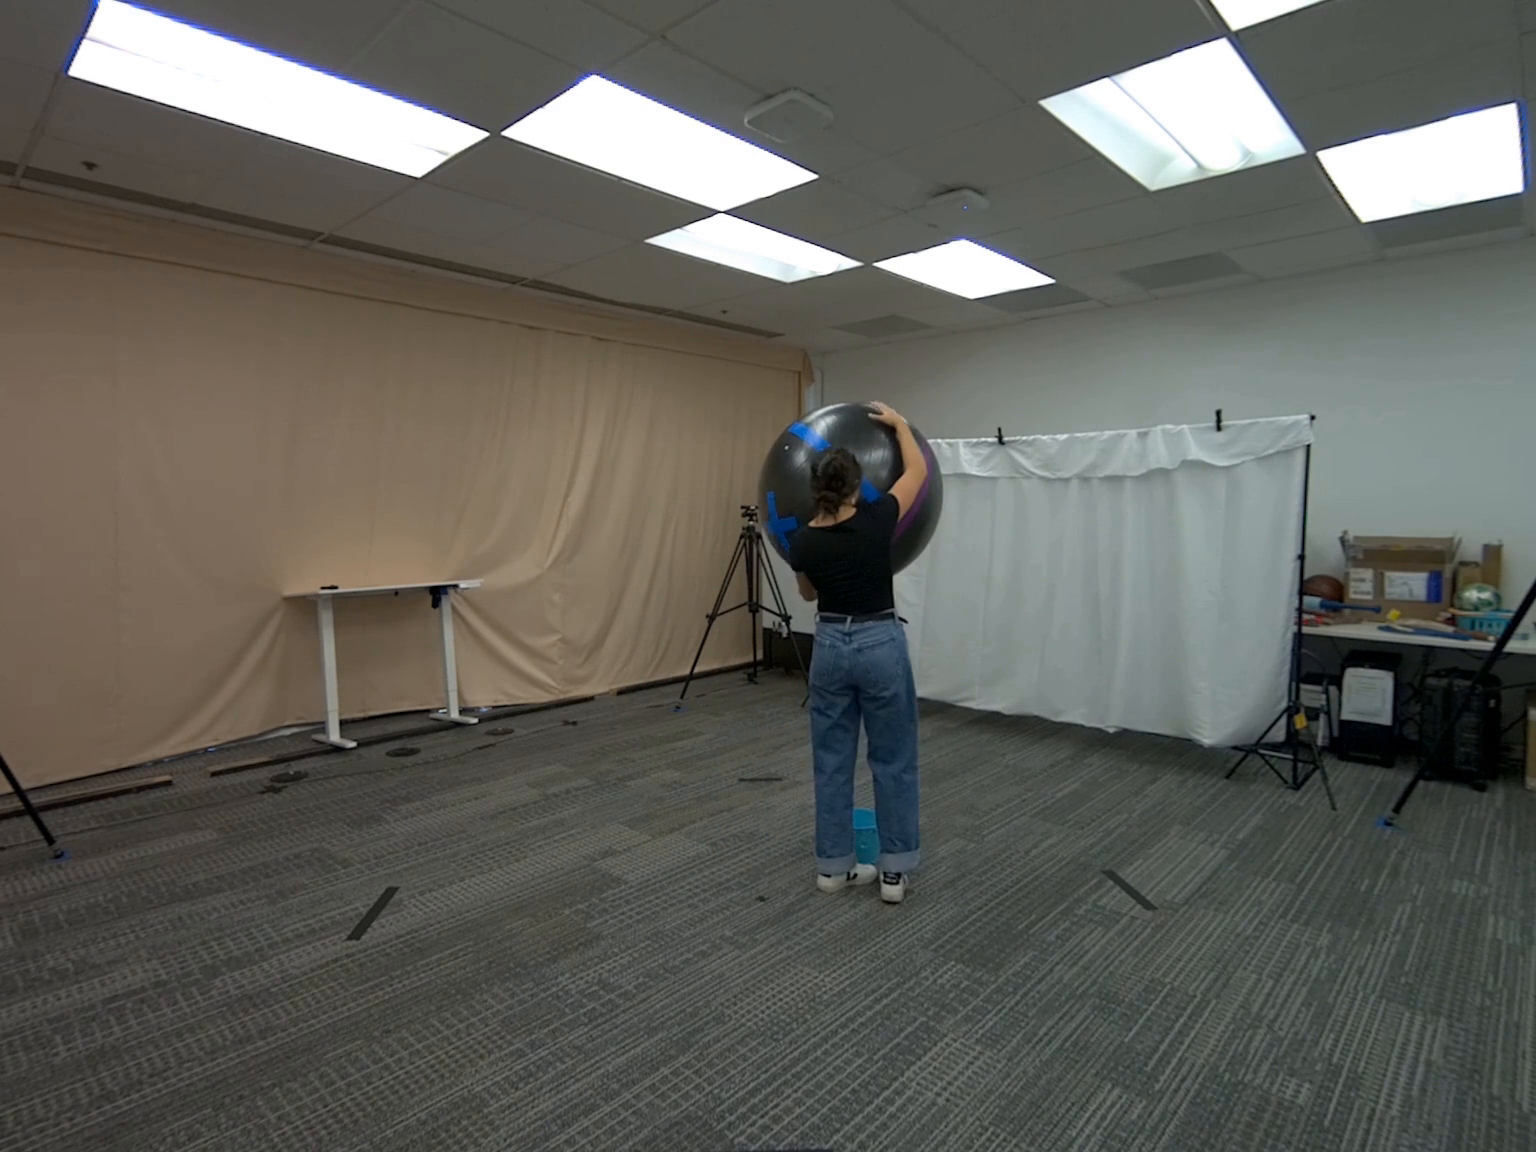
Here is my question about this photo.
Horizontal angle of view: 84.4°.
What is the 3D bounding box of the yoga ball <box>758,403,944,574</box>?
[{"bbox_3d":[0.347,-0.326,3.491,0.757,0.756,0.760,0,4,-2],"label":"yoga ball"}]
